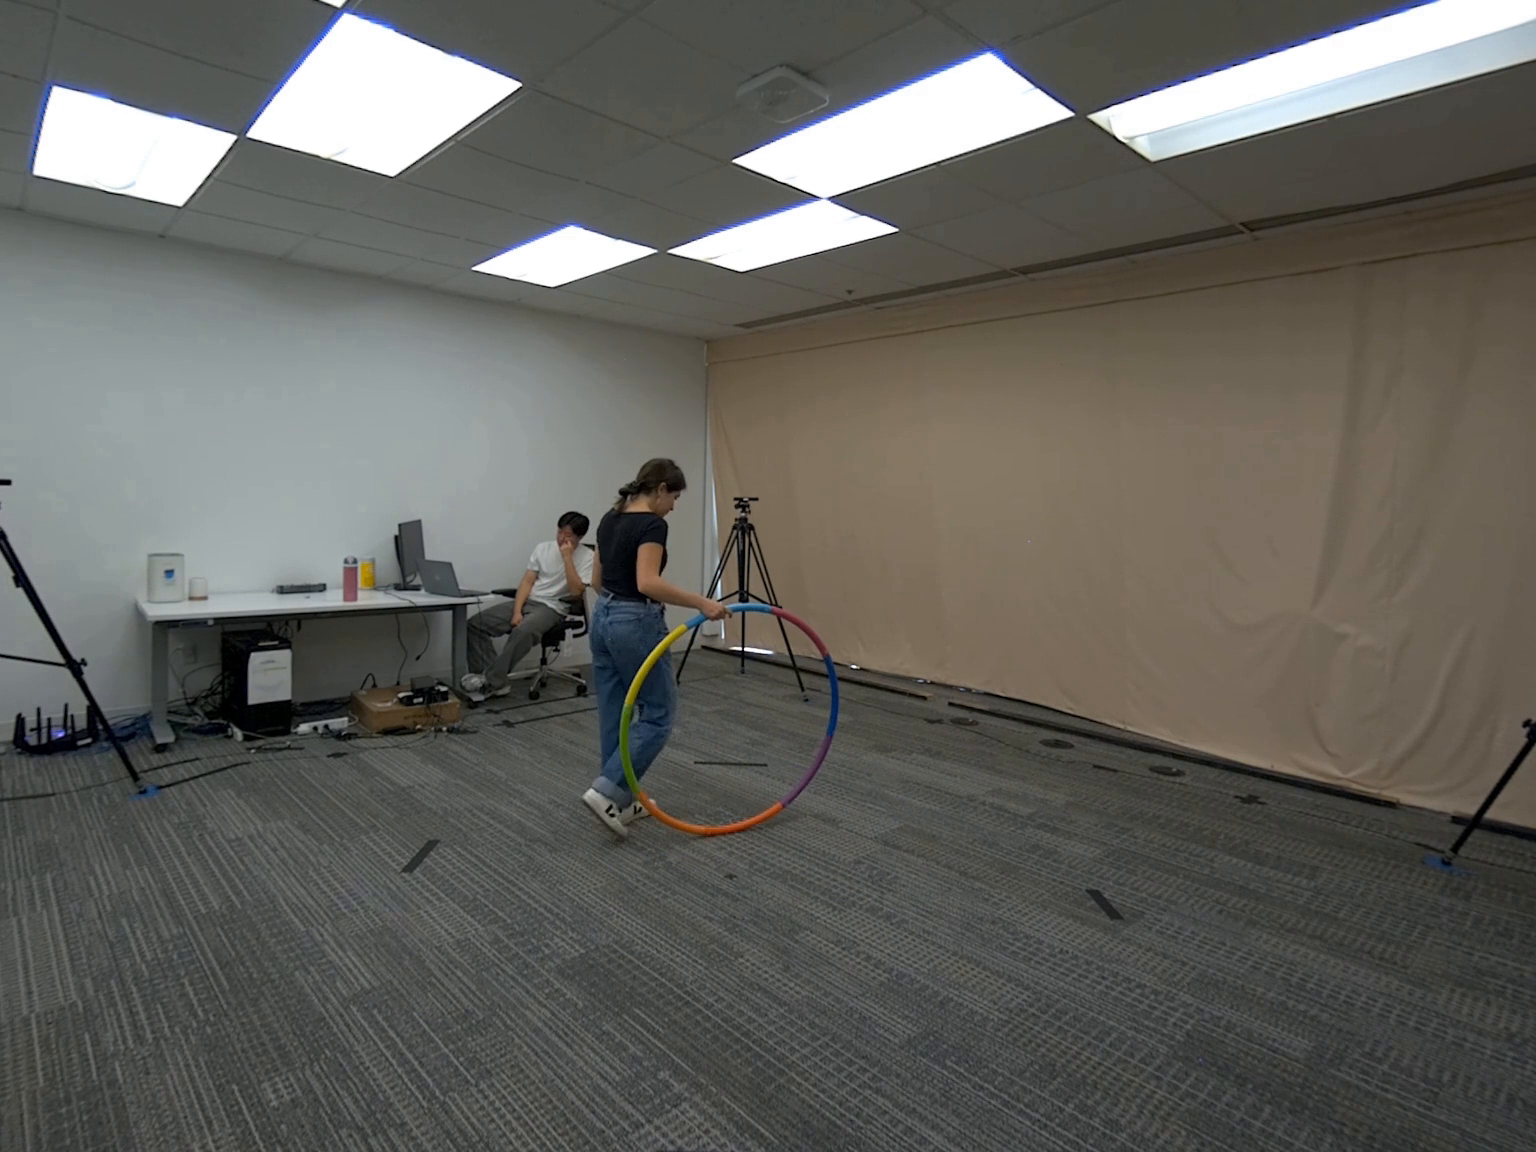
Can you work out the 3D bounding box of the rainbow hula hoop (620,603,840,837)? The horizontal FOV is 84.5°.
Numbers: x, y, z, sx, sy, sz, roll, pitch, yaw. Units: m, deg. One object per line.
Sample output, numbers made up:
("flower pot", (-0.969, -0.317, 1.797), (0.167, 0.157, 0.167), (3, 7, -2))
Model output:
("rainbow hula hoop", (-0.132, 0.593, 3.423), (0.960, 0.972, 0.036), (-1, 11, -27))
